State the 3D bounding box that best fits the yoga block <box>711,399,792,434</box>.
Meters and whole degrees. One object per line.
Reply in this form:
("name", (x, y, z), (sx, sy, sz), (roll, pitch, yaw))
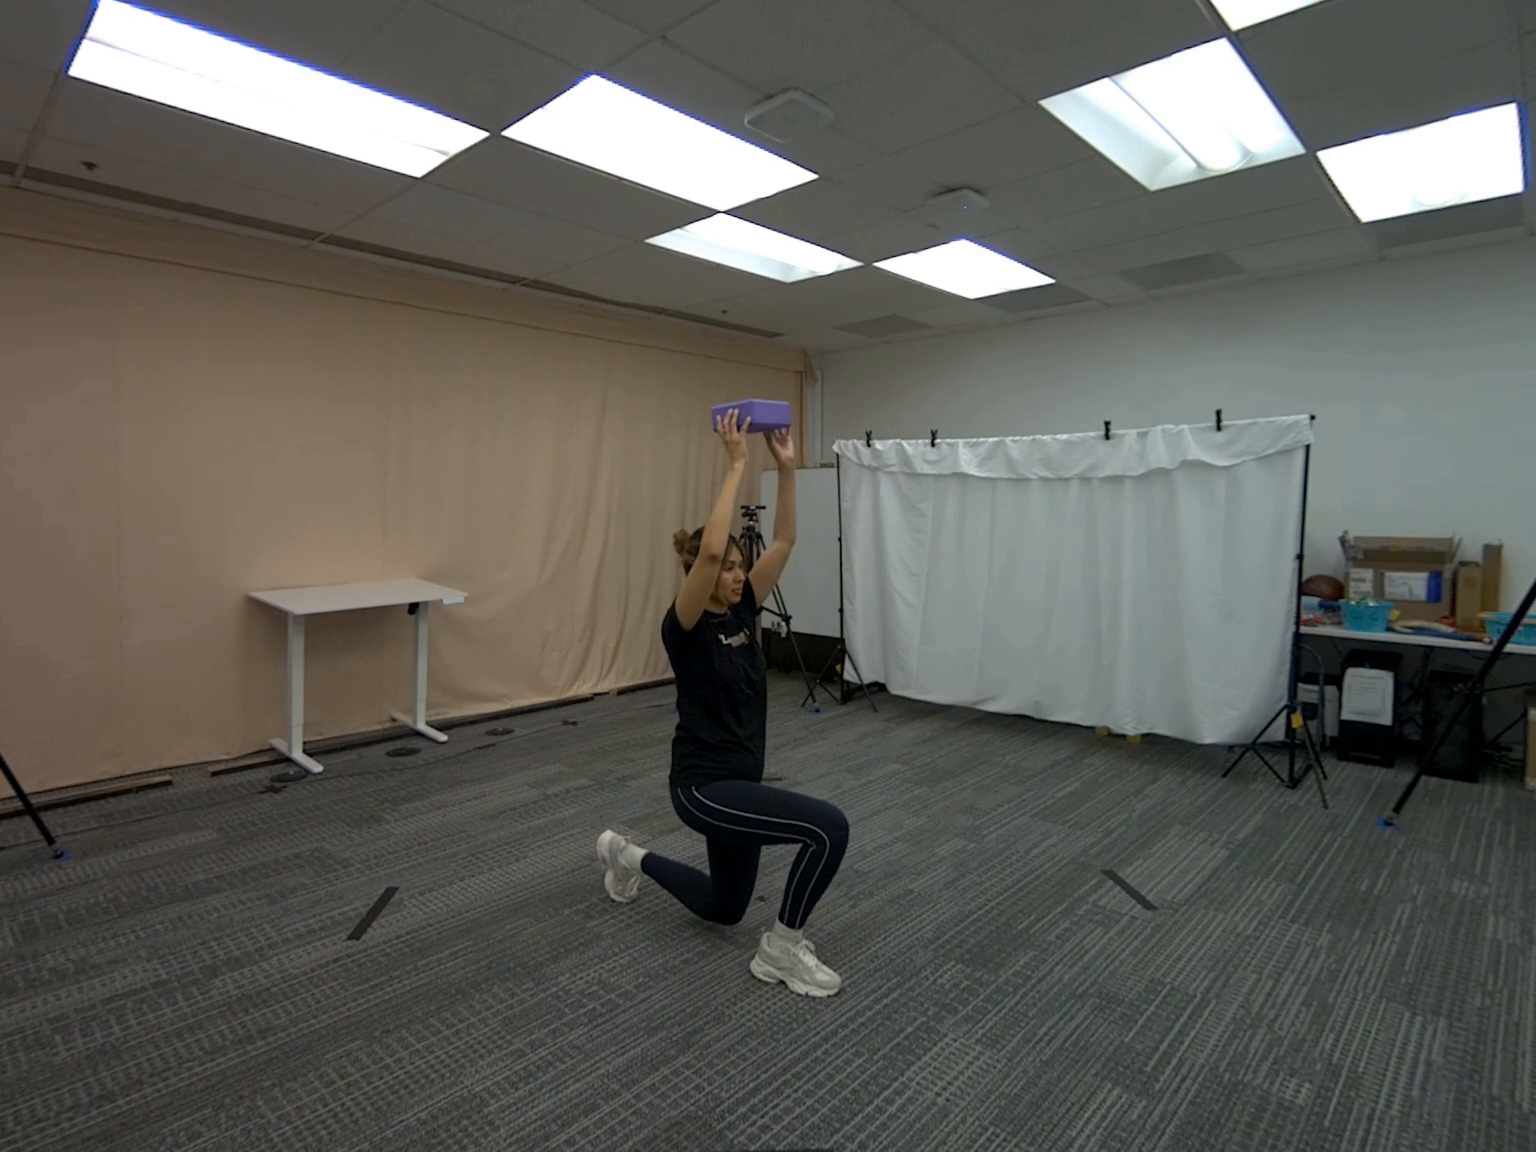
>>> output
("yoga block", (-0.045, -0.483, 2.494), (0.153, 0.076, 0.223), (-4, 5, 34))
